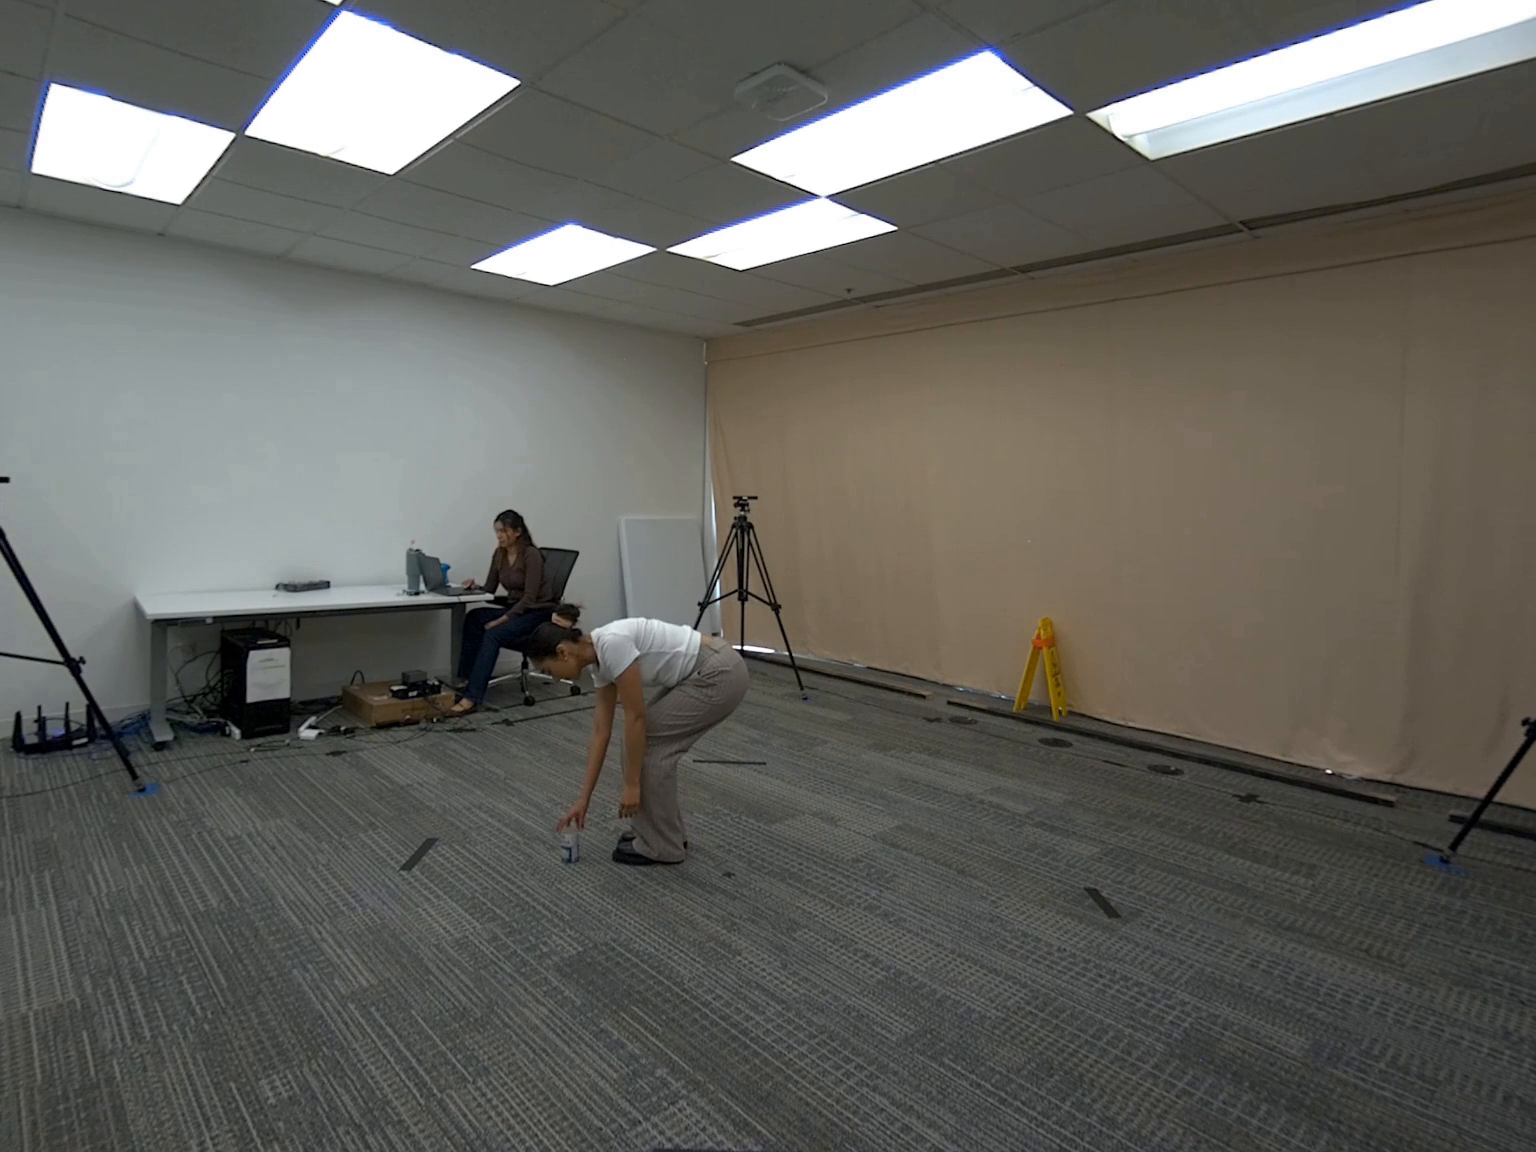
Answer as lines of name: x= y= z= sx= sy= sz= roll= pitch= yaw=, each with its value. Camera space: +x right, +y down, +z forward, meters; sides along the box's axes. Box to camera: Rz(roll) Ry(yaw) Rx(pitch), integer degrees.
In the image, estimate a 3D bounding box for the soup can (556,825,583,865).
soup can: x=-0.736 y=1.018 z=3.194 sx=0.067 sy=0.121 sz=0.067 roll=0 pitch=4 yaw=-1
